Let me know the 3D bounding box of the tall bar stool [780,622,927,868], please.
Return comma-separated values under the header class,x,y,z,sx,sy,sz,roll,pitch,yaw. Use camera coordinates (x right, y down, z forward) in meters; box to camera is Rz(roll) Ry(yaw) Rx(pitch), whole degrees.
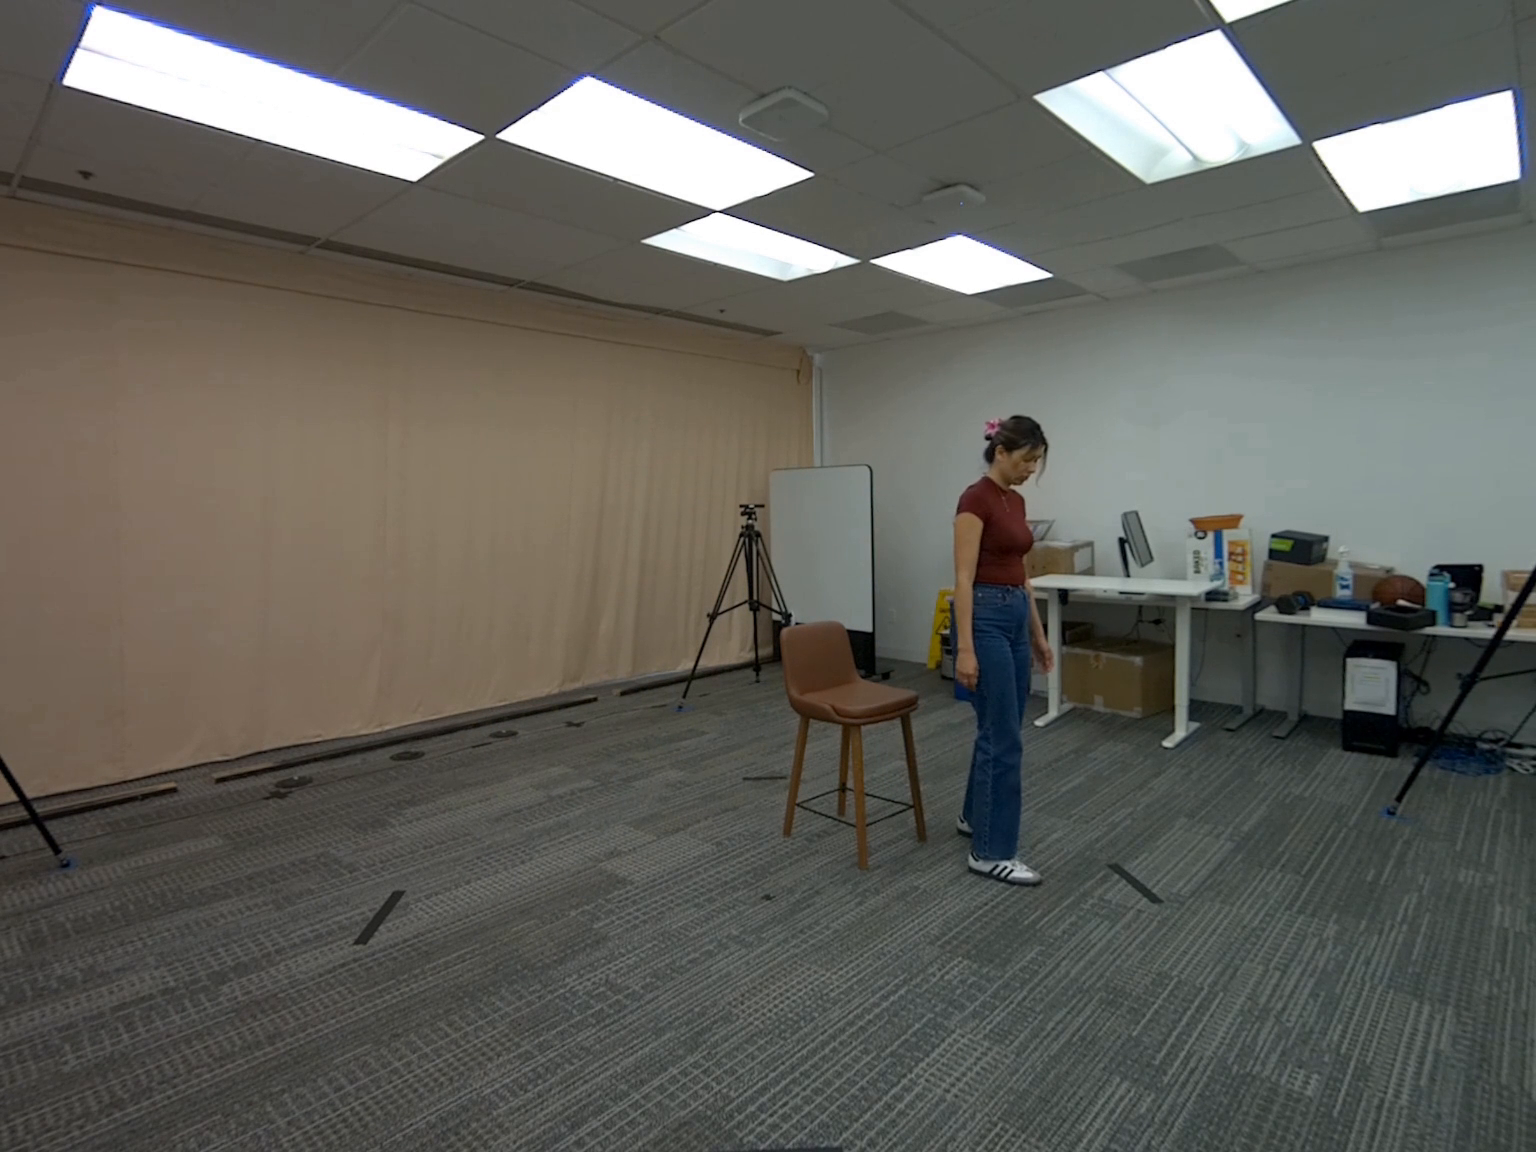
class,x,y,z,sx,sy,sz,roll,pitch,yaw
tall bar stool,0.346,0.657,3.480,0.442,0.889,0.482,-3,2,-43
